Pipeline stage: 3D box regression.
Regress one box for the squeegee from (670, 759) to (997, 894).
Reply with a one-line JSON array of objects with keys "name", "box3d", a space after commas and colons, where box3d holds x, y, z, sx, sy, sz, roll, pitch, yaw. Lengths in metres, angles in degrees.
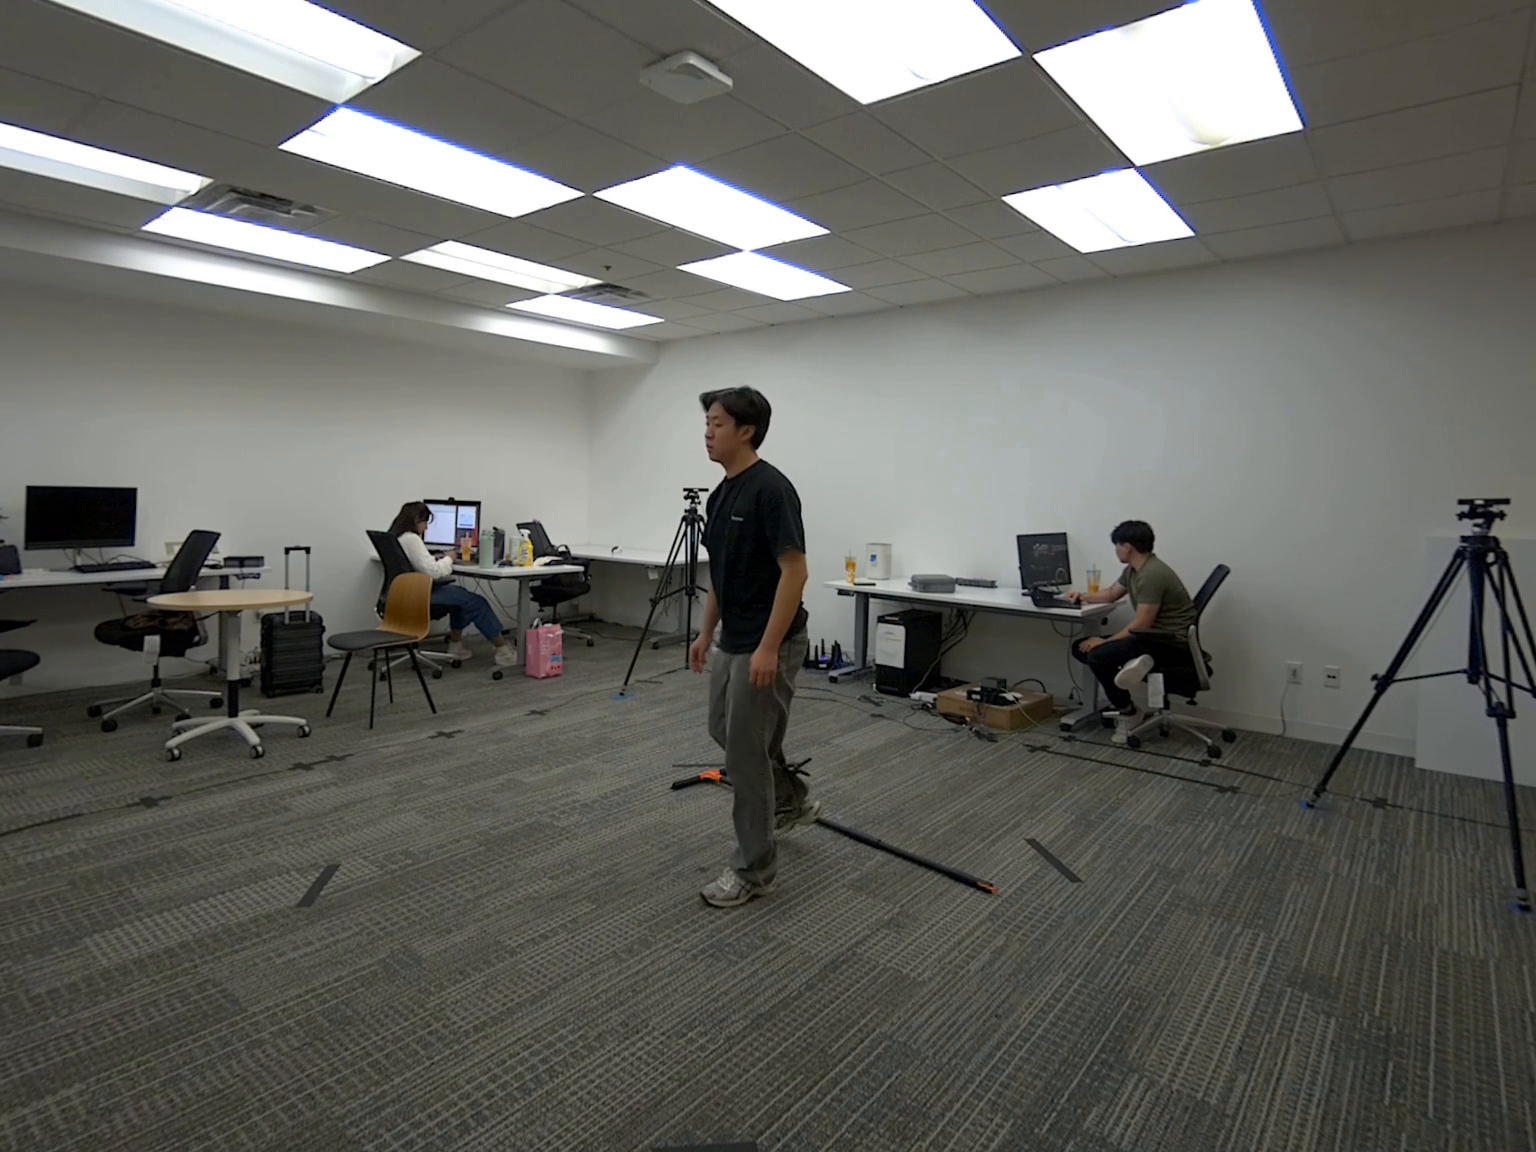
[{"name": "squeegee", "box3d": [0.236, 0.993, 3.519, 0.424, 0.053, 1.591, -5, 9, -44]}]
